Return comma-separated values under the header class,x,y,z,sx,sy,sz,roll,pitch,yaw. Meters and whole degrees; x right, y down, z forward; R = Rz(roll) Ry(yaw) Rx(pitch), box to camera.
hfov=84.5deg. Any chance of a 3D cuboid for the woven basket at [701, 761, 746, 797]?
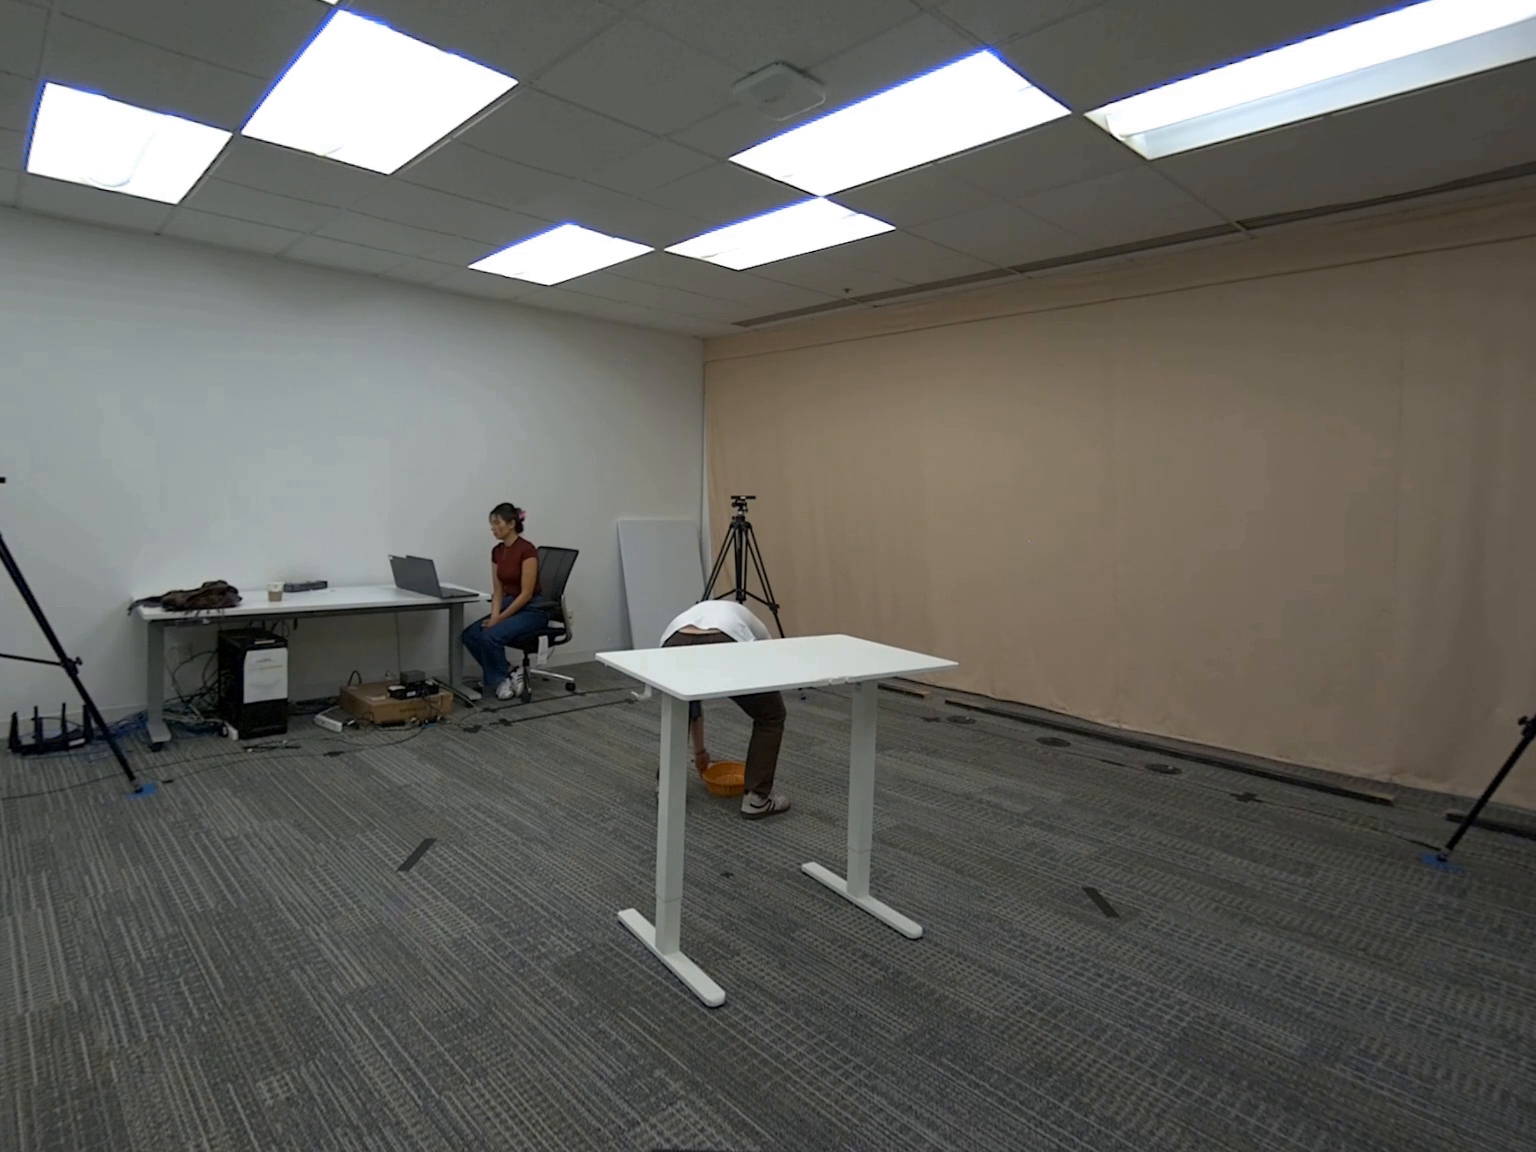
class,x,y,z,sx,sy,sz,roll,pitch,yaw
woven basket,-0.192,0.975,4.064,0.255,0.073,0.347,3,5,12
